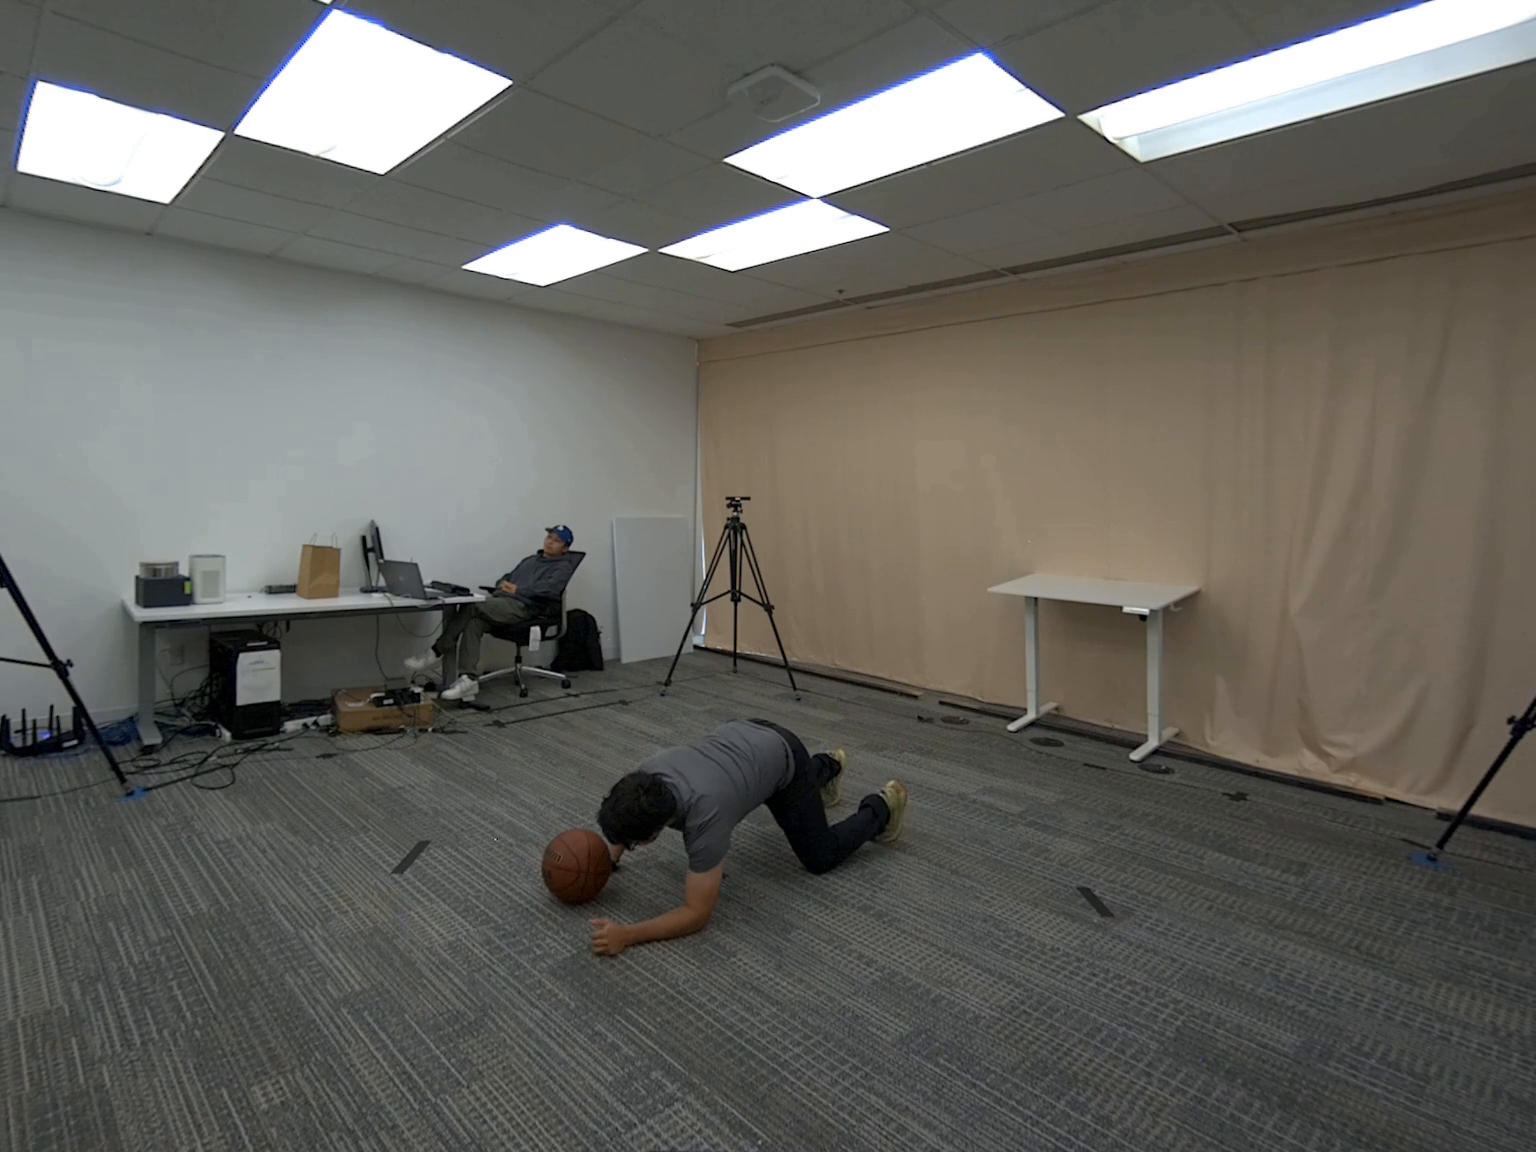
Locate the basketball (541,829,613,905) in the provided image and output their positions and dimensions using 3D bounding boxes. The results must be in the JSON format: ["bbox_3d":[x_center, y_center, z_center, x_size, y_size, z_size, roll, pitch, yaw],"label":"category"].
[{"bbox_3d":[-0.662,0.988,2.899,0.236,0.235,0.237,1,4,-1],"label":"basketball"}]
